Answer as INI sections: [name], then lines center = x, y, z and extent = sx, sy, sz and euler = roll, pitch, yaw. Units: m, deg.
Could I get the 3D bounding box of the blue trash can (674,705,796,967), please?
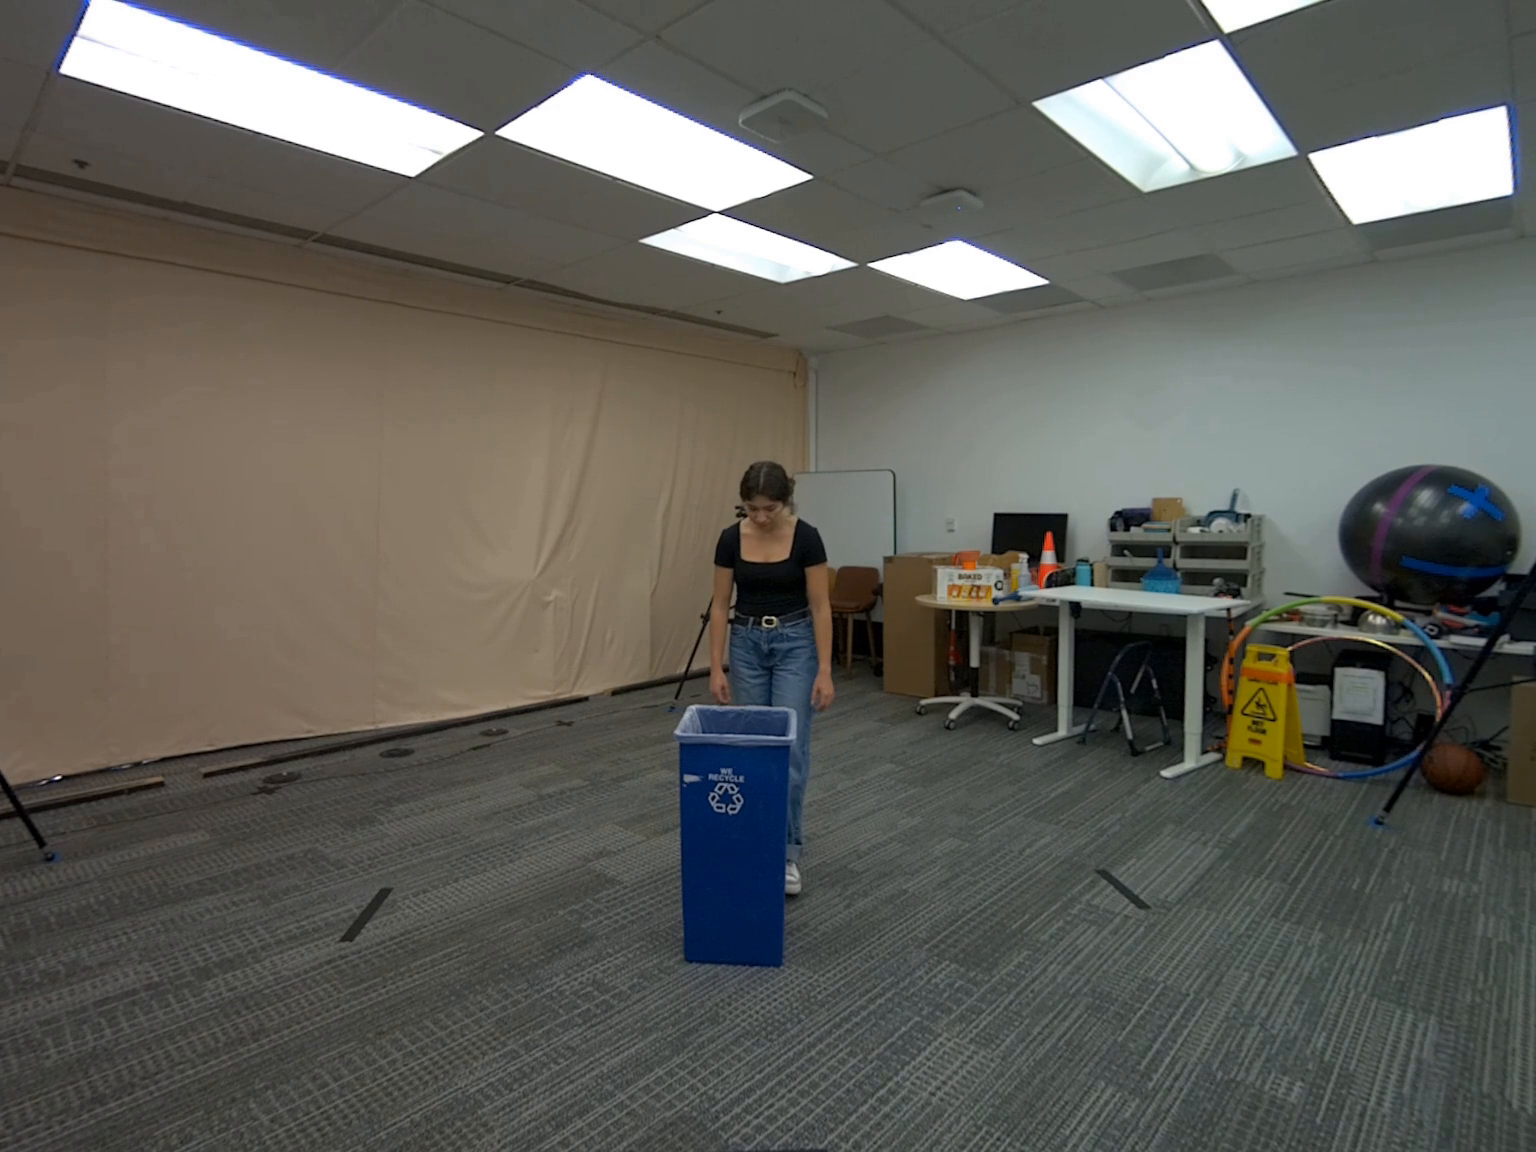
[blue trash can]
center = -0.089, 0.810, 2.688
extent = 0.376, 0.712, 0.377
euler = 0, 4, 4
